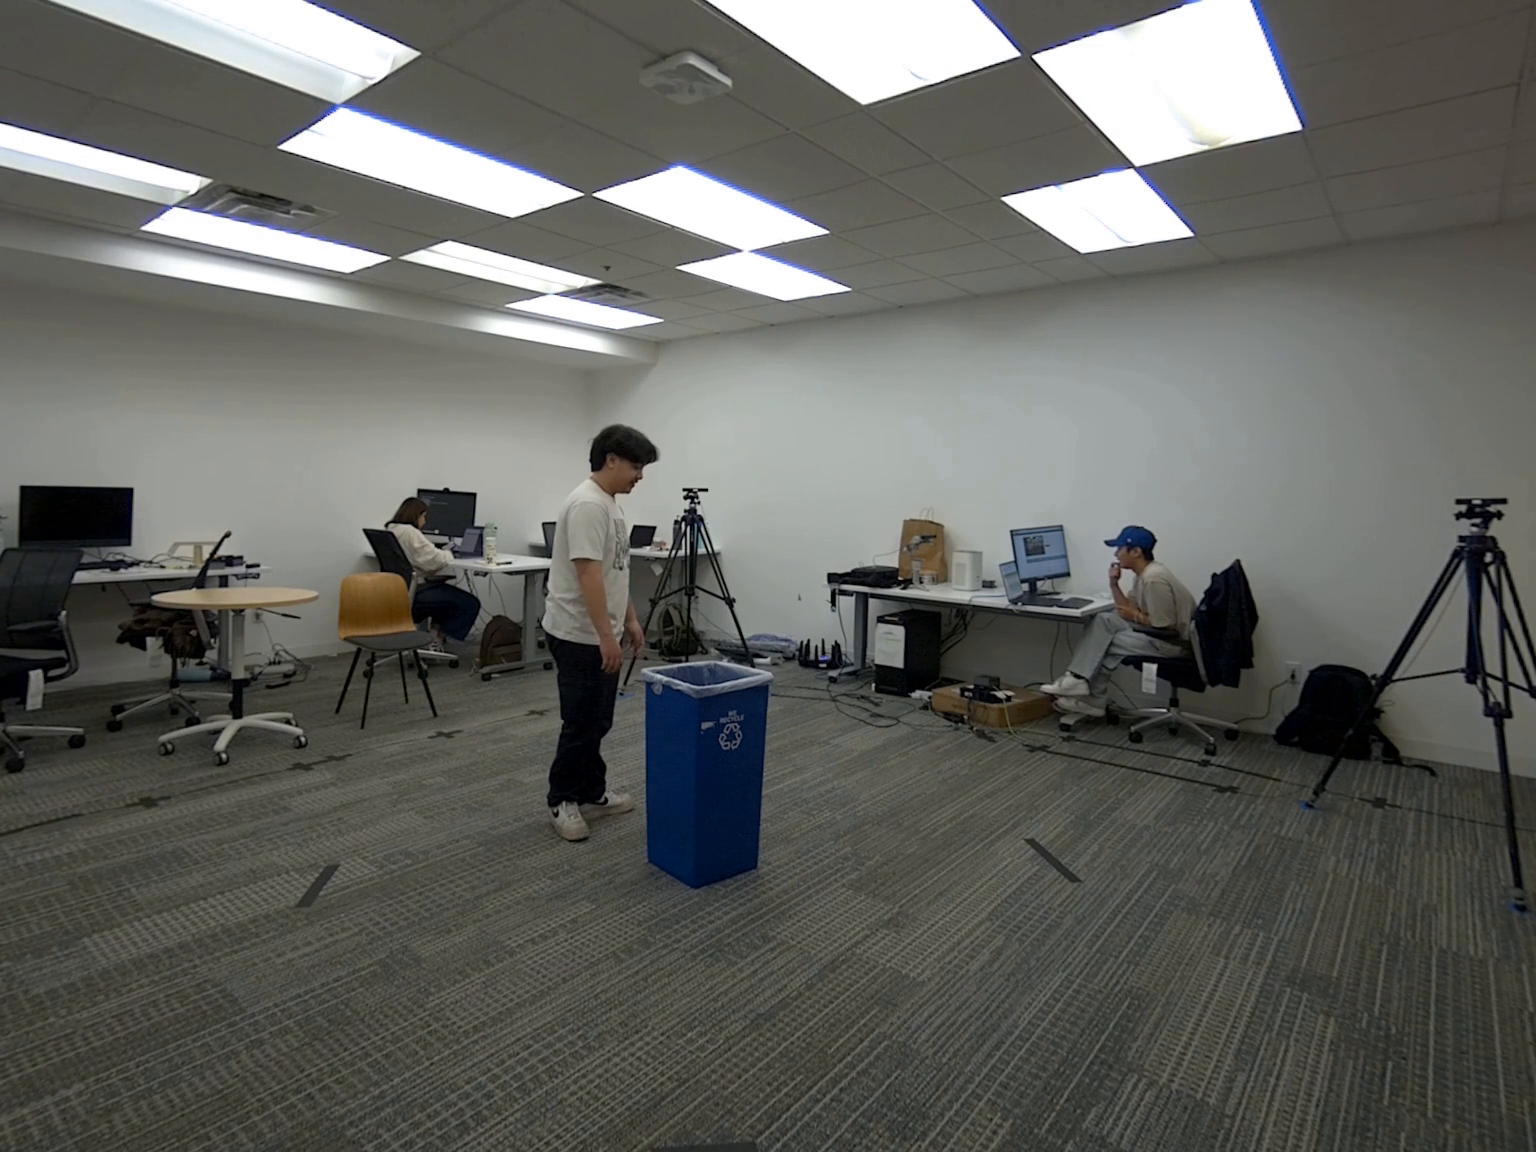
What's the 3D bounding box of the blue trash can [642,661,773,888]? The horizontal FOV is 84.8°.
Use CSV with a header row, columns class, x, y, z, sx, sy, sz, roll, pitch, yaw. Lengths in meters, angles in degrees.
class,x,y,z,sx,sy,sz,roll,pitch,yaw
blue trash can,-0.240,0.707,3.144,0.363,0.711,0.391,-2,4,-41
